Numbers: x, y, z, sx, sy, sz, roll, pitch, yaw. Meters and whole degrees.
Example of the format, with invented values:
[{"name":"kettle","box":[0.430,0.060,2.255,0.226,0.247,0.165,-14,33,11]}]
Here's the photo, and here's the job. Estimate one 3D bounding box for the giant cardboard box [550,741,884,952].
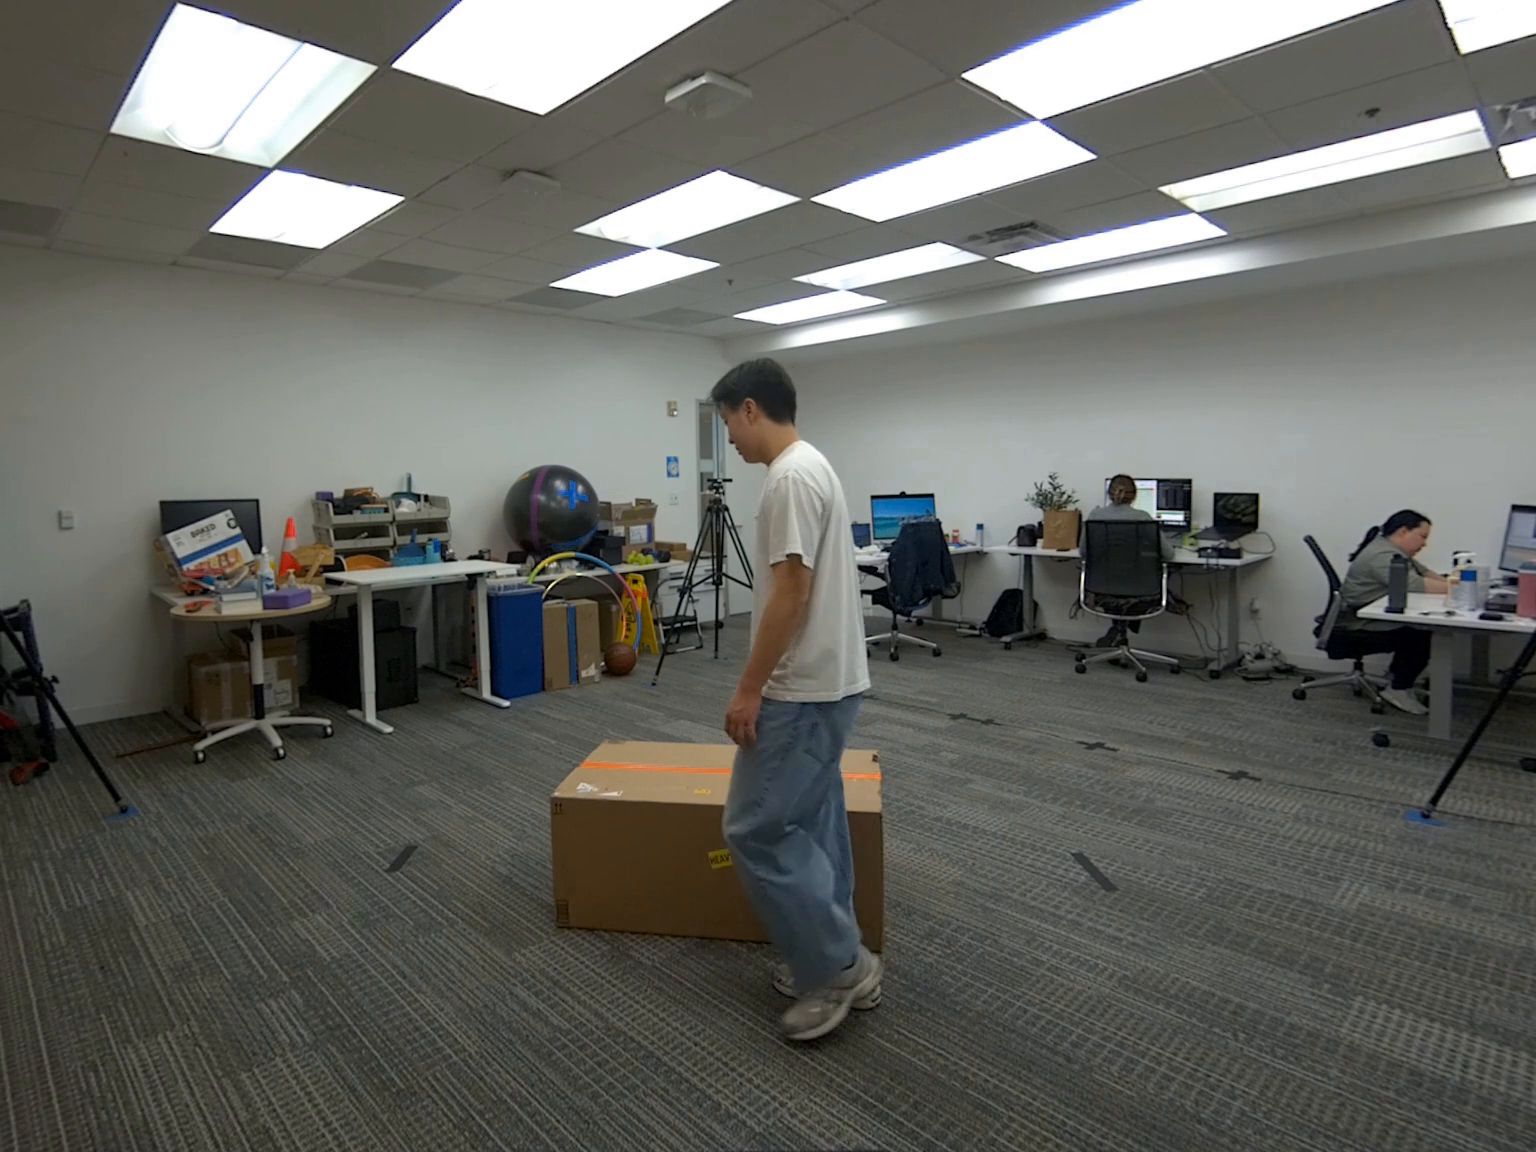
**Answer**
[{"name":"giant cardboard box","box":[-0.137,0.856,2.864,1.035,0.424,0.575,0,6,9]}]
